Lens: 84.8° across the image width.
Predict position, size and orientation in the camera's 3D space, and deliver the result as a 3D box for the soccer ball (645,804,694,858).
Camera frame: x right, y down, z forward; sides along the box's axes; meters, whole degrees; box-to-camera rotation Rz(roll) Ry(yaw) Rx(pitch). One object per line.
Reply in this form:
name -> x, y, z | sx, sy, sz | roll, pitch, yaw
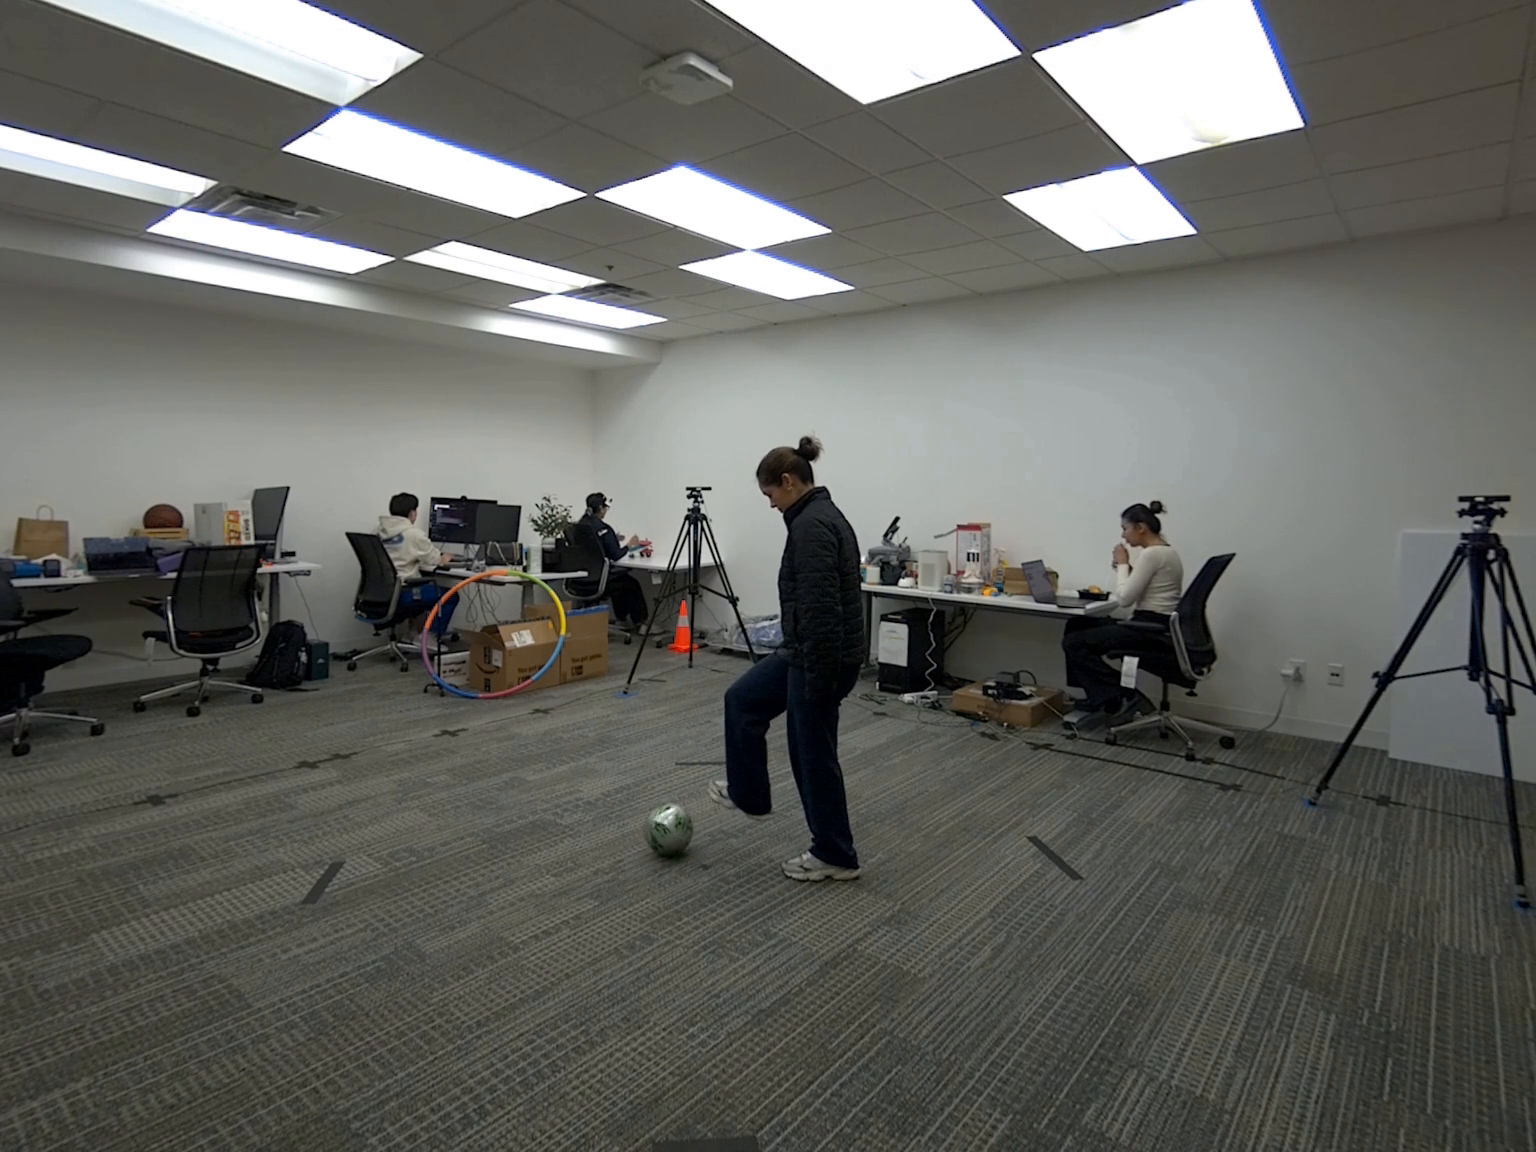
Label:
soccer ball -> -0.383, 0.960, 3.229 | 0.187, 0.187, 0.188 | 1, 4, -2
